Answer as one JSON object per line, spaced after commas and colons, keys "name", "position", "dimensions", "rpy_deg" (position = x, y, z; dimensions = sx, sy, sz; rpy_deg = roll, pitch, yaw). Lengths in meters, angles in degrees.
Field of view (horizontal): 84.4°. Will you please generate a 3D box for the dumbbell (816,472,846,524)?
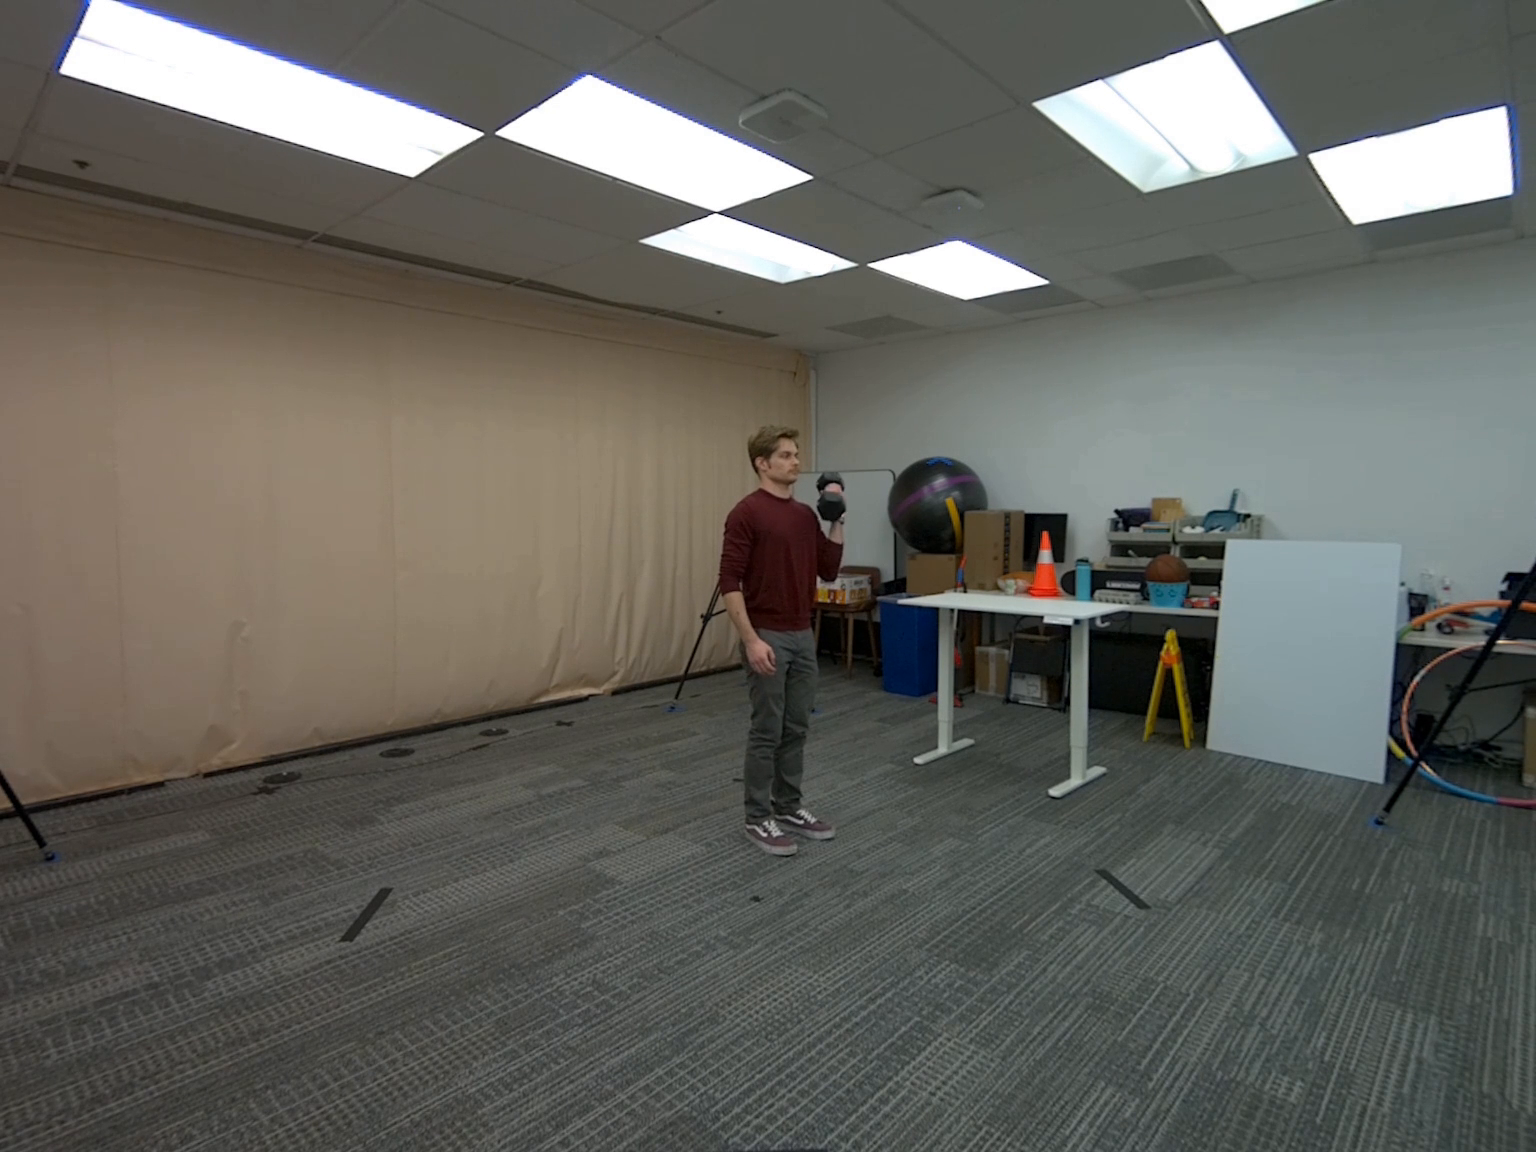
{"name": "dumbbell", "position": [0.281, -0.339, 3.571], "dimensions": [0.107, 0.123, 0.297], "rpy_deg": [30, 29, -13]}
